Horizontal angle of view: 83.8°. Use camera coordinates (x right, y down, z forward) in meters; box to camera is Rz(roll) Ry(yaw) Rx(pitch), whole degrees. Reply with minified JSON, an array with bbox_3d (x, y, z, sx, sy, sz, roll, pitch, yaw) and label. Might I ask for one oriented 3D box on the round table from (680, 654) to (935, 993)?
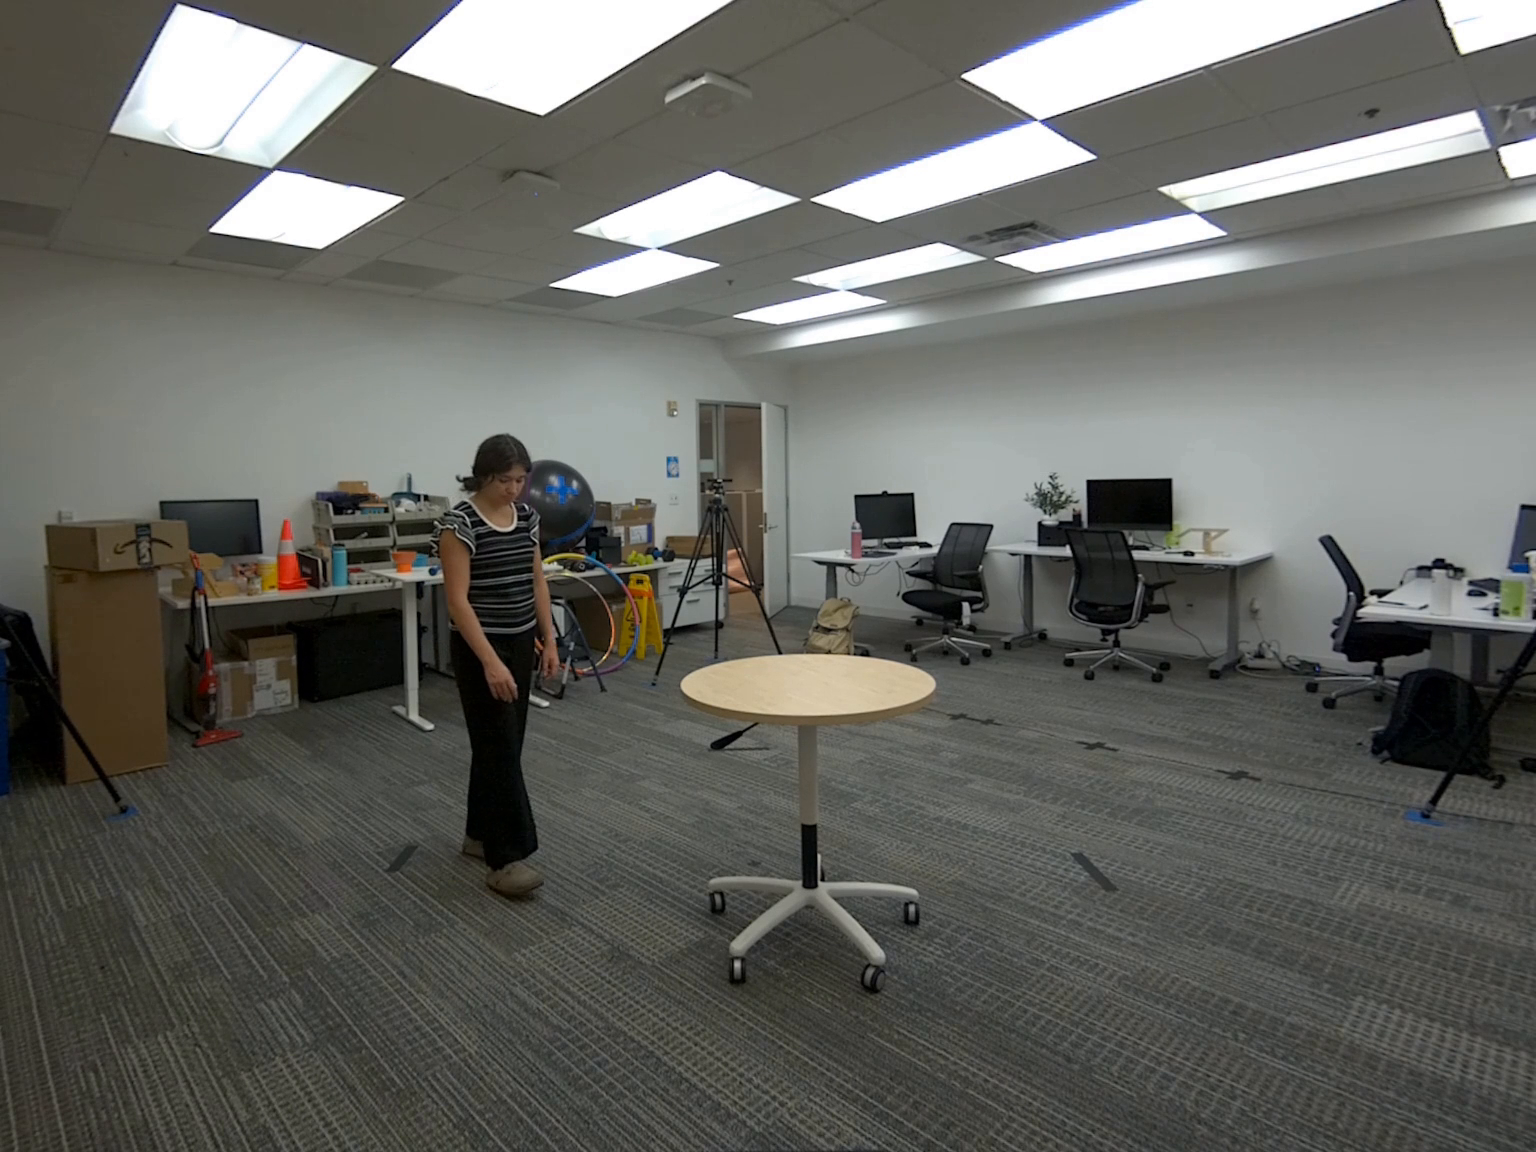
[{"bbox_3d":[0.134,0.712,2.613,0.763,0.790,0.768,-2,5,-2],"label":"round table"}]
